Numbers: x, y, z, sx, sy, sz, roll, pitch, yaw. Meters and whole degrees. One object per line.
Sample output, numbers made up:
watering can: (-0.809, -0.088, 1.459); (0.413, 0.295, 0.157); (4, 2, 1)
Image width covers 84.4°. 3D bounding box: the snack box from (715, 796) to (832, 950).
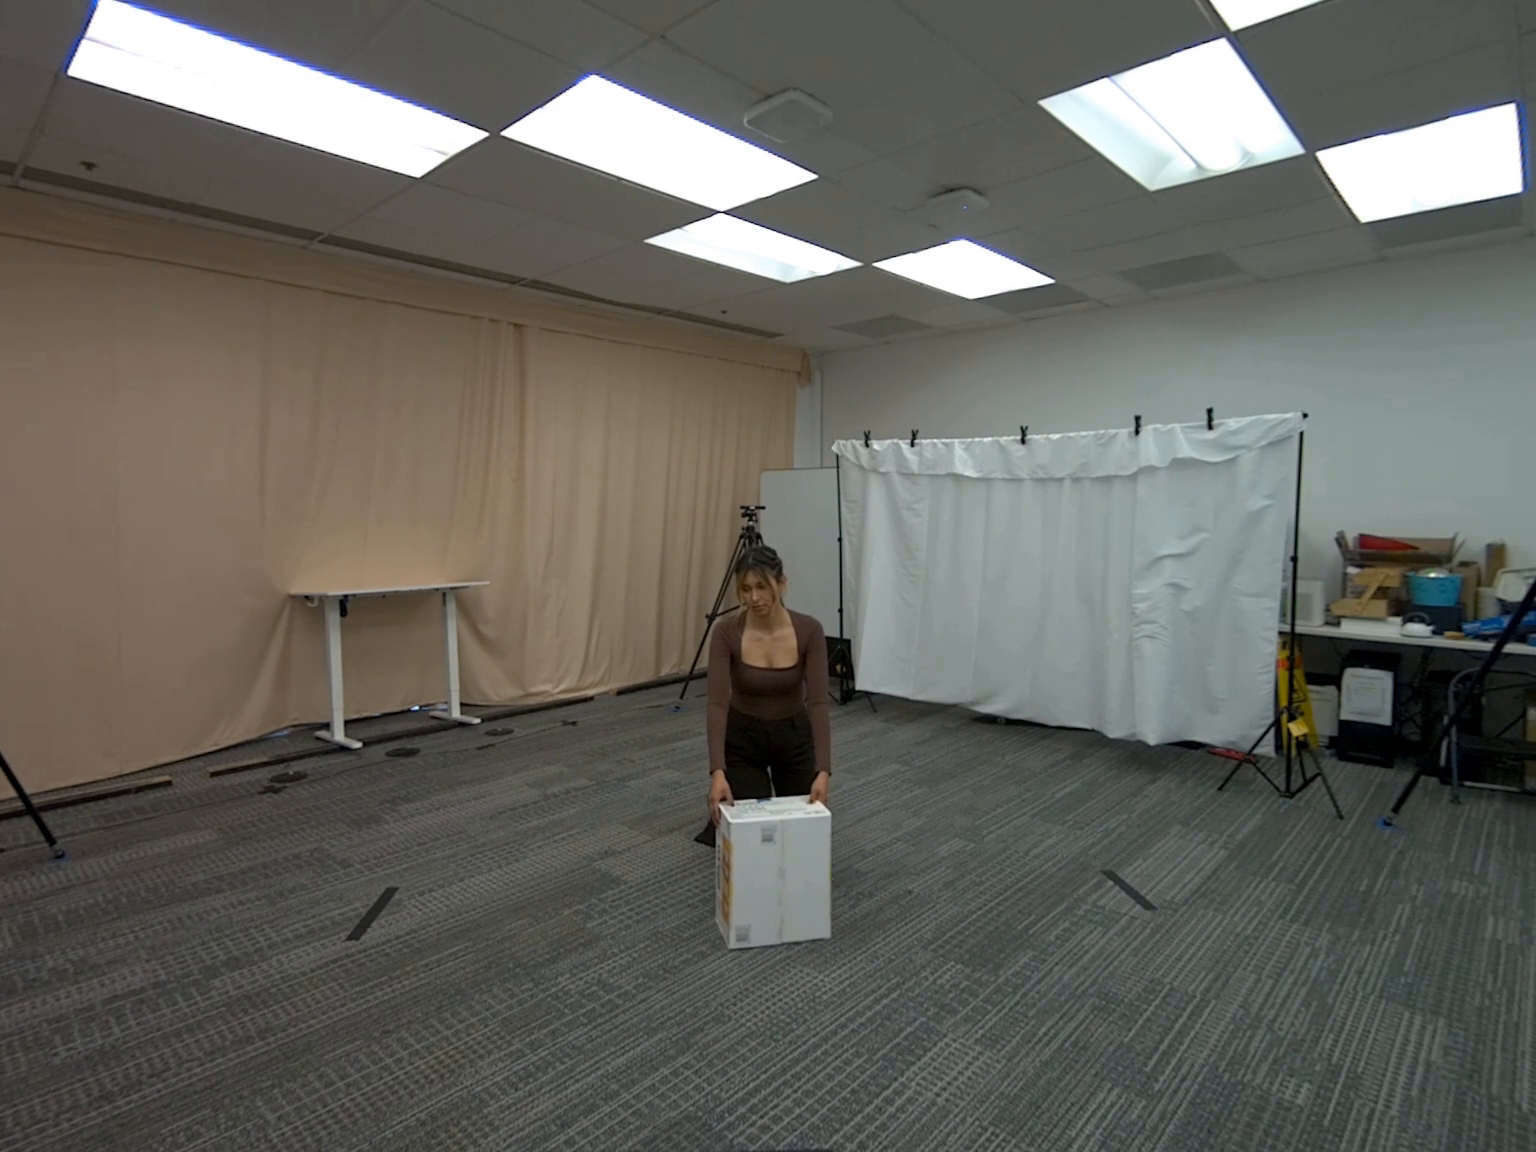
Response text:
snack box: (0.016, 0.954, 2.762); (0.335, 0.405, 0.209); (0, 2, -14)
